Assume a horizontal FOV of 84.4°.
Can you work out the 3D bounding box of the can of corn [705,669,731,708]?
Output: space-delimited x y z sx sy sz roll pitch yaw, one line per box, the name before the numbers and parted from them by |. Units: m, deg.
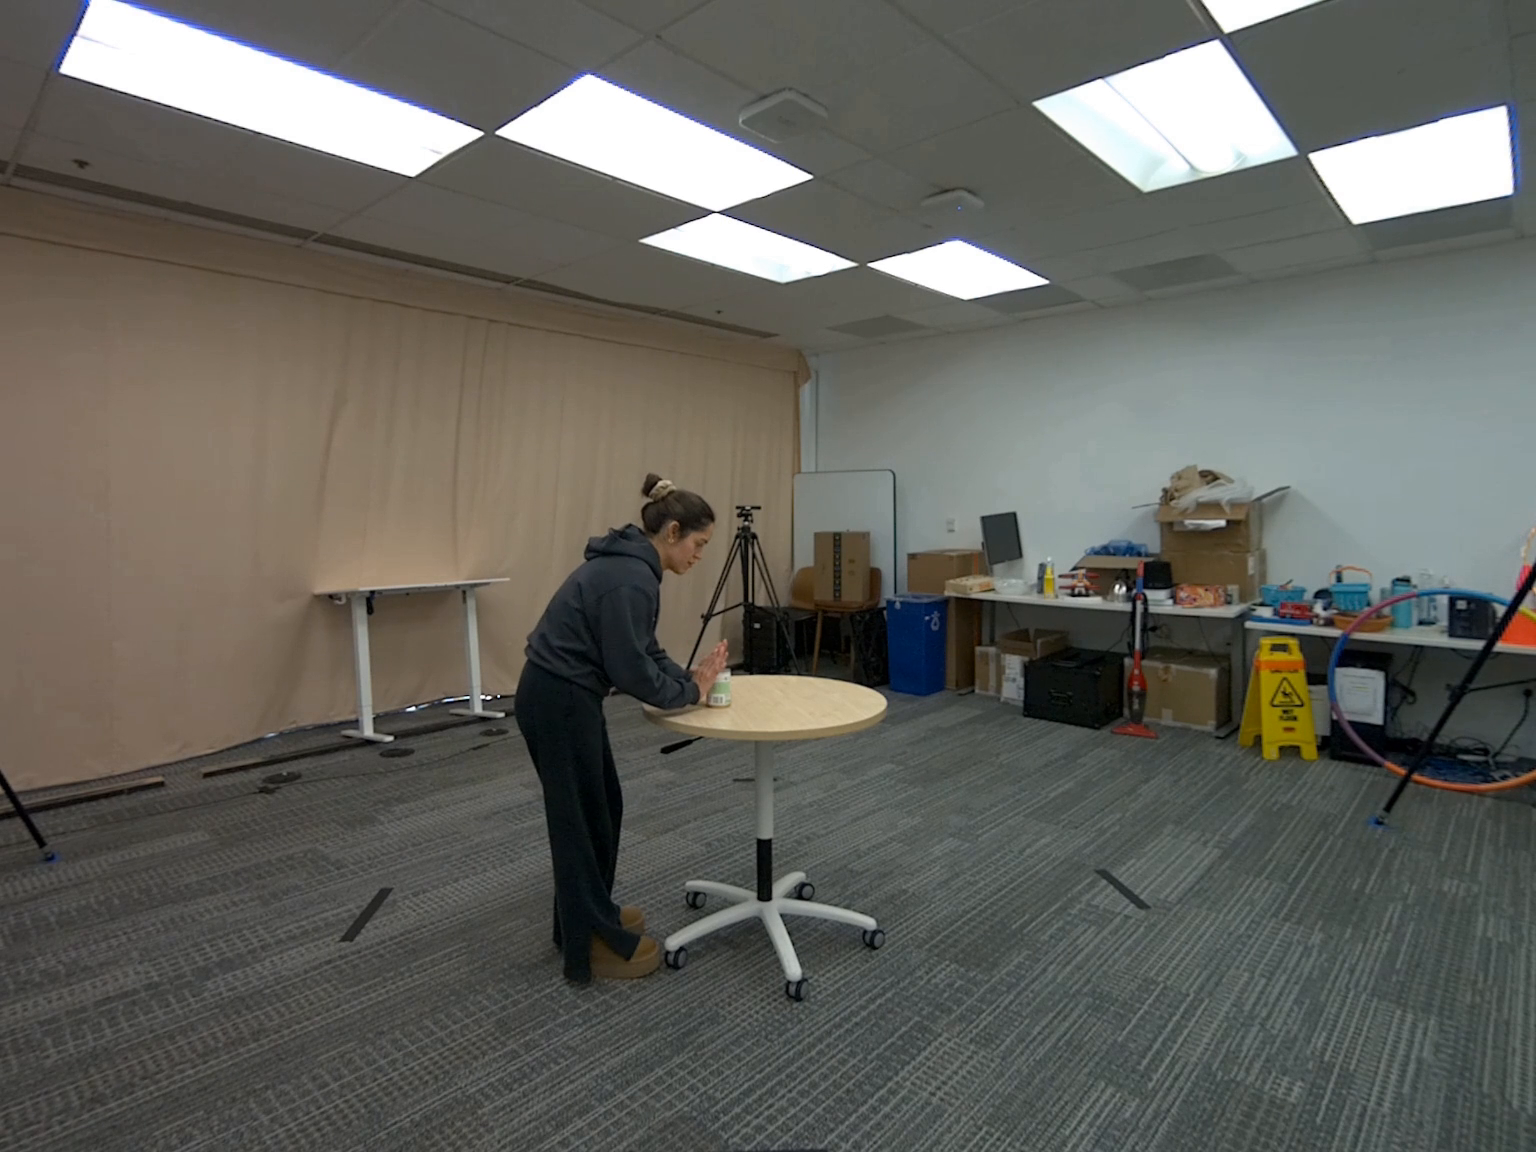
can of corn | -0.134 0.345 2.564 0.074 0.110 0.074 -4 5 -1
